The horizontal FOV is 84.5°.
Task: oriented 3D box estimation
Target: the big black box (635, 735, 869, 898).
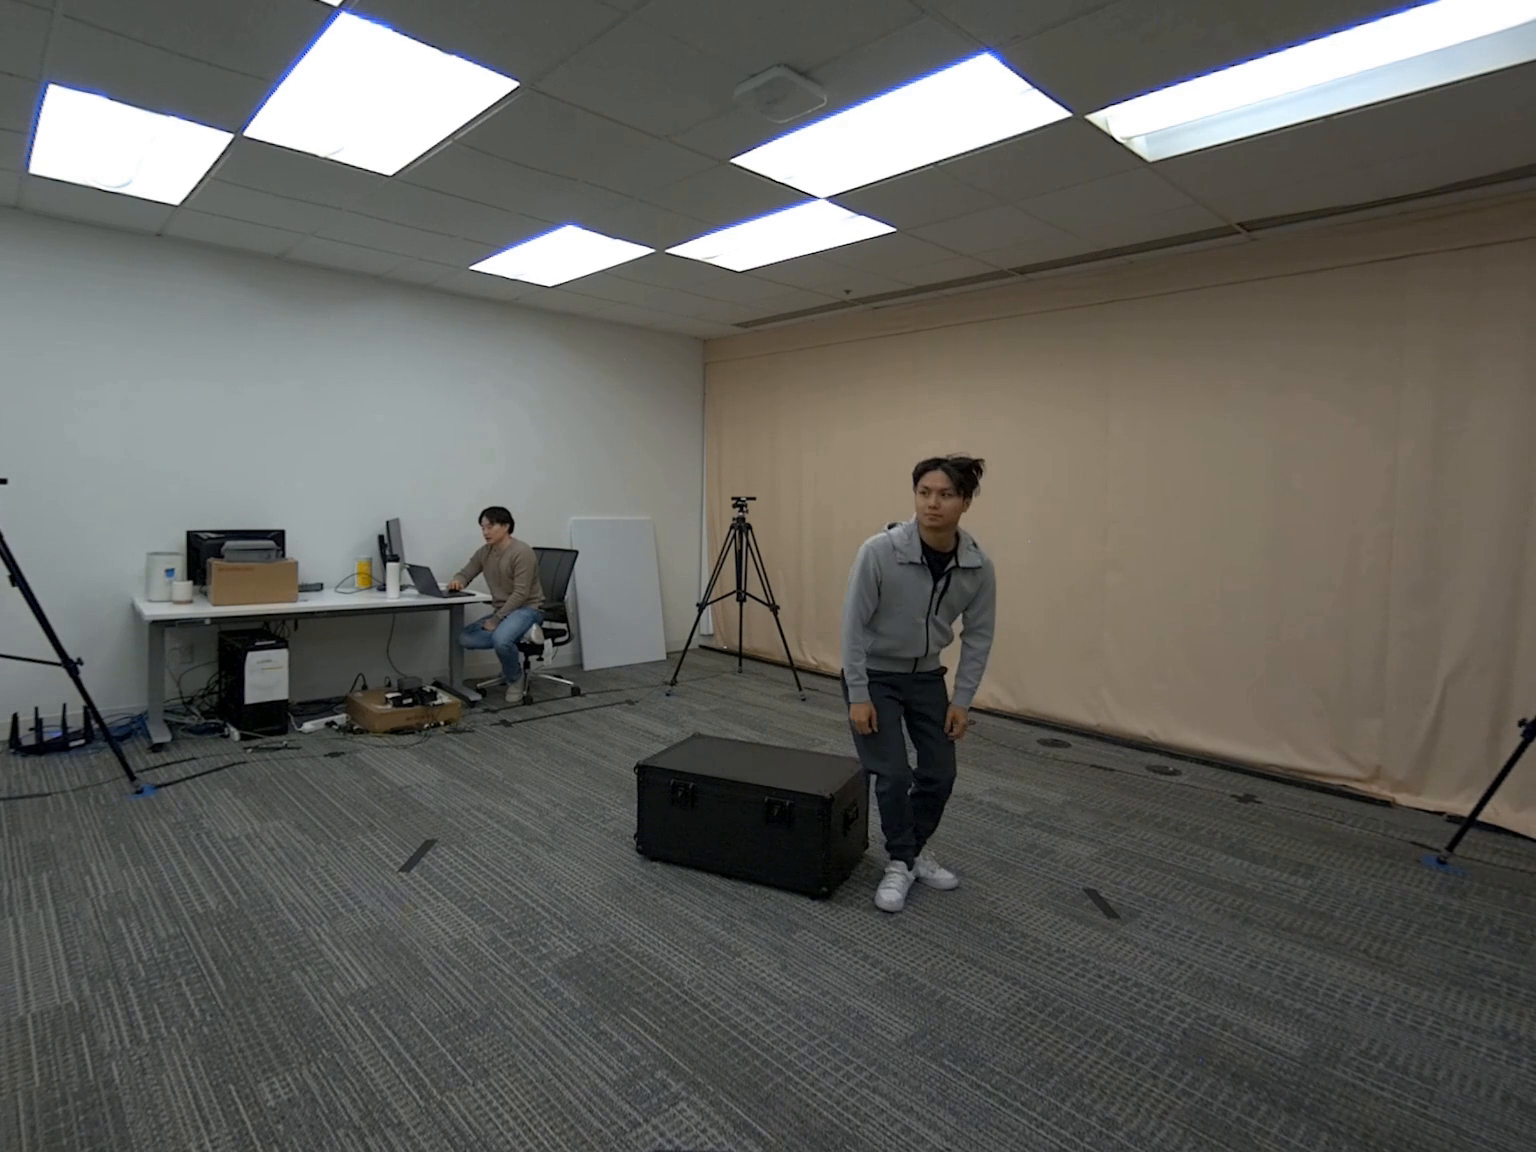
[{"bbox_3d":[-0.030,0.904,3.252,0.878,0.395,0.513,3,5,25],"label":"big black box"}]
